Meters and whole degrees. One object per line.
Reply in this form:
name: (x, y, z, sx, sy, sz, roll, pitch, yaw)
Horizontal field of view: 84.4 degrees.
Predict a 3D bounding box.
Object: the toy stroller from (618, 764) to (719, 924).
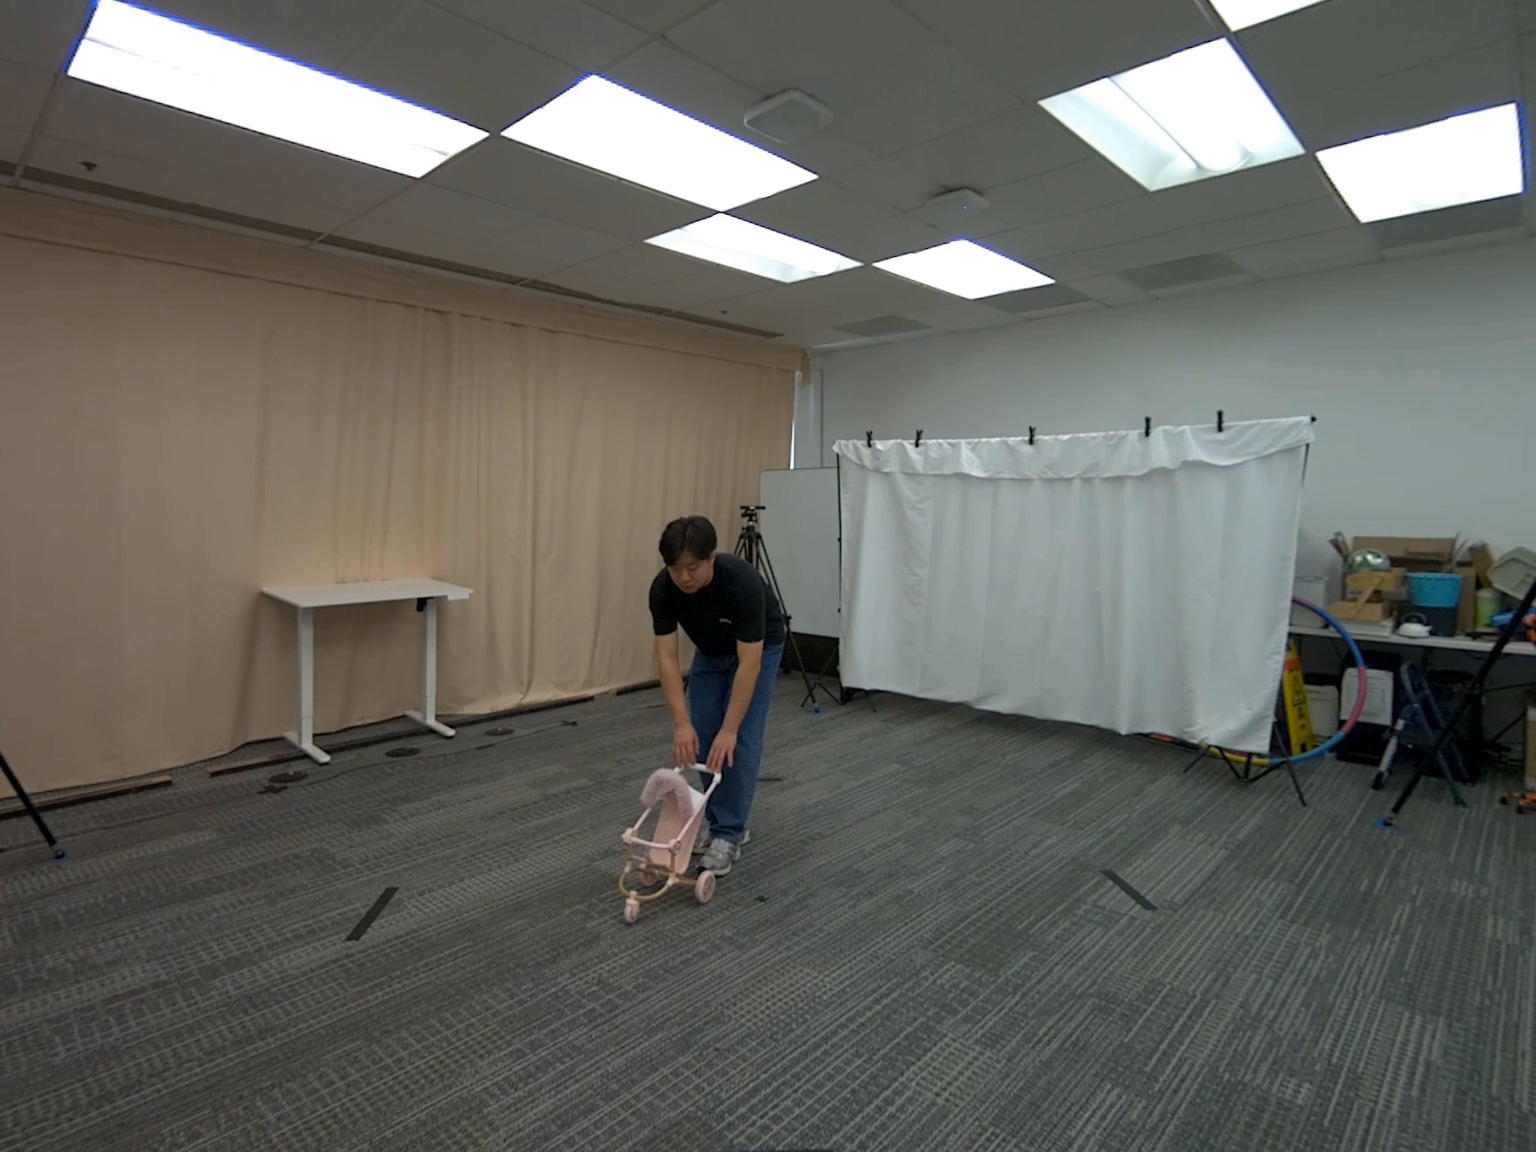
toy stroller: (-0.362, 0.922, 2.967, 0.290, 0.538, 0.329, 0, -14, 36)
